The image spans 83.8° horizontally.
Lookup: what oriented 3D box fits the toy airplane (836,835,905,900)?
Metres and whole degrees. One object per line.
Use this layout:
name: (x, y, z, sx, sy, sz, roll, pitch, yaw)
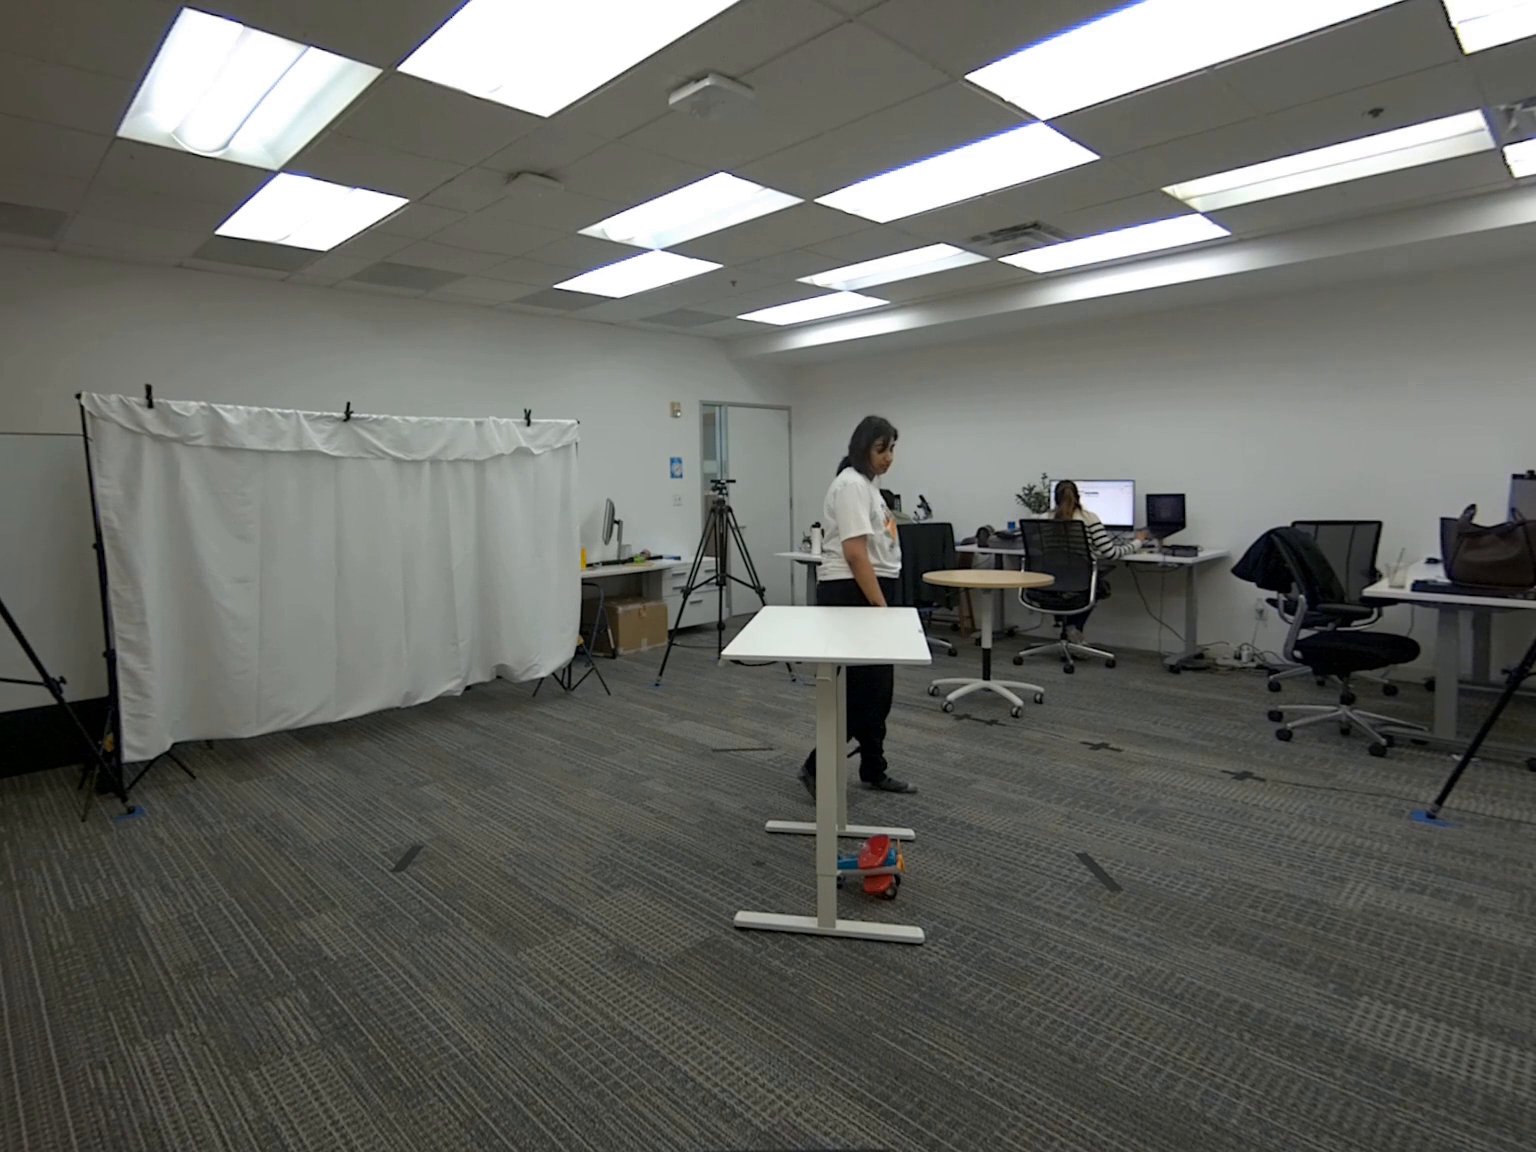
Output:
toy airplane: (0.334, 0.994, 2.879, 0.257, 0.156, 0.254, -1, 6, -10)
